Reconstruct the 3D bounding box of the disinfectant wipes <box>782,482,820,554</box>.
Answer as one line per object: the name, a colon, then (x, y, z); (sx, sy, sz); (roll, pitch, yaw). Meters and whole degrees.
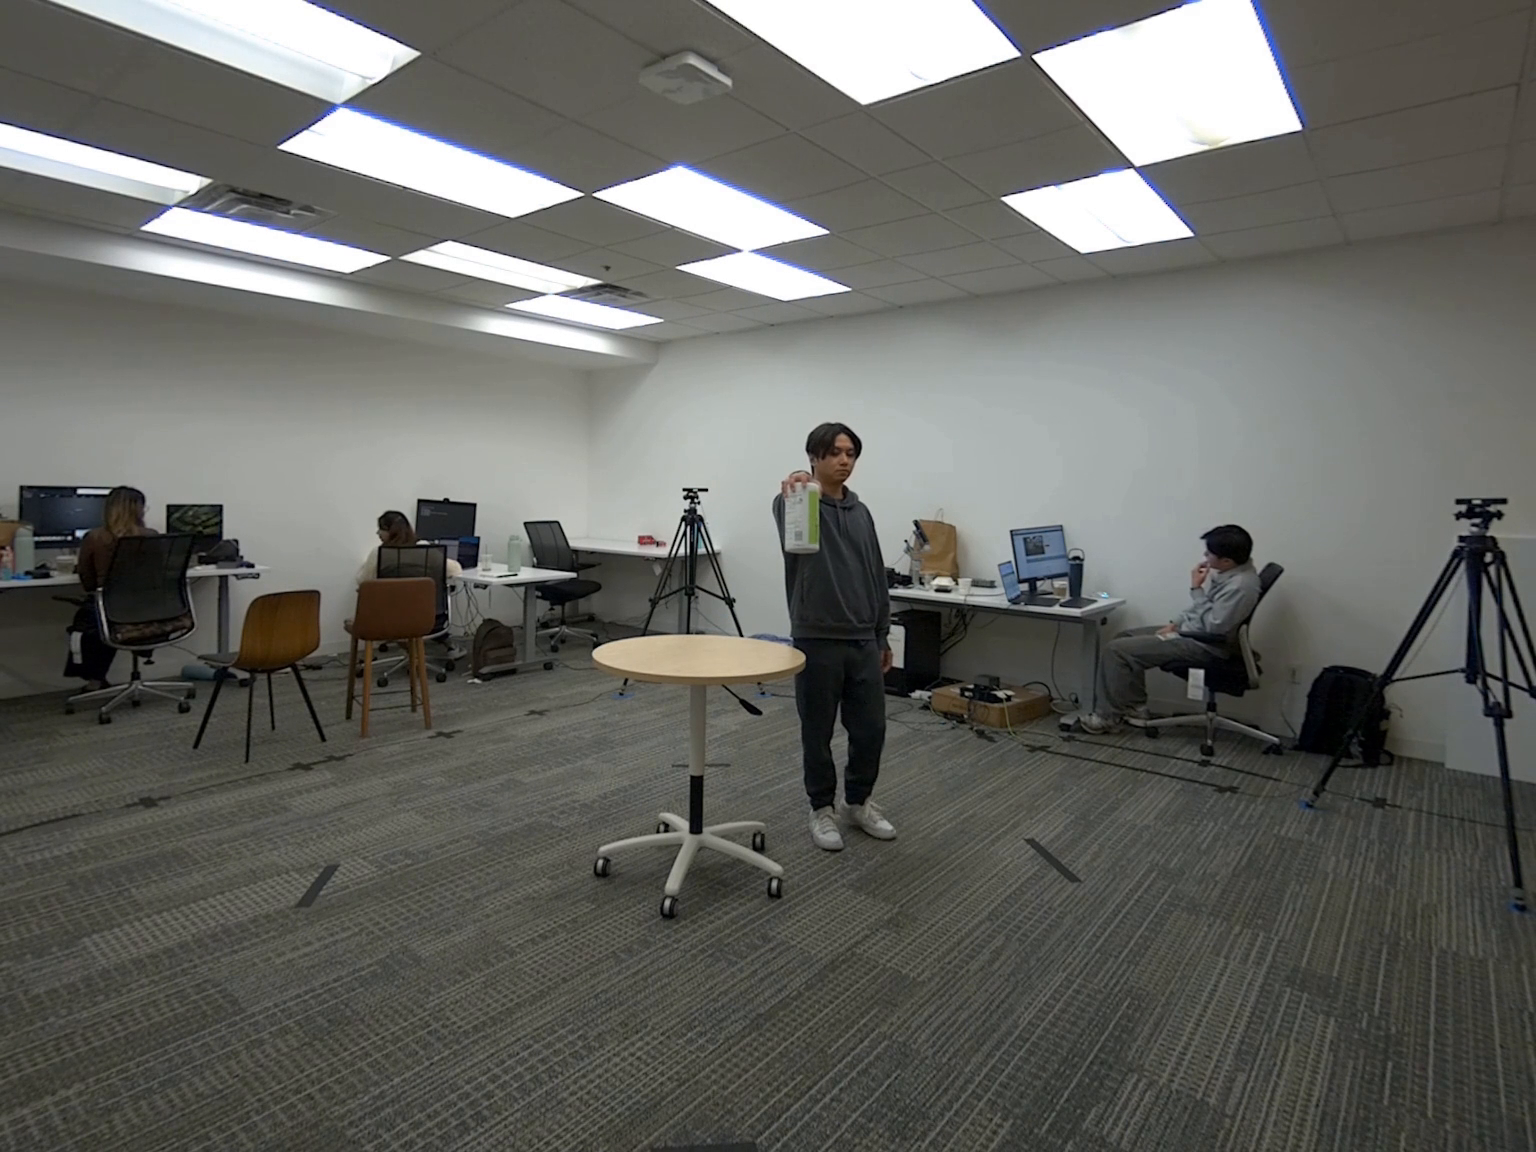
disinfectant wipes: (0.105, -0.185, 2.707); (0.118, 0.219, 0.117); (0, -8, -2)
